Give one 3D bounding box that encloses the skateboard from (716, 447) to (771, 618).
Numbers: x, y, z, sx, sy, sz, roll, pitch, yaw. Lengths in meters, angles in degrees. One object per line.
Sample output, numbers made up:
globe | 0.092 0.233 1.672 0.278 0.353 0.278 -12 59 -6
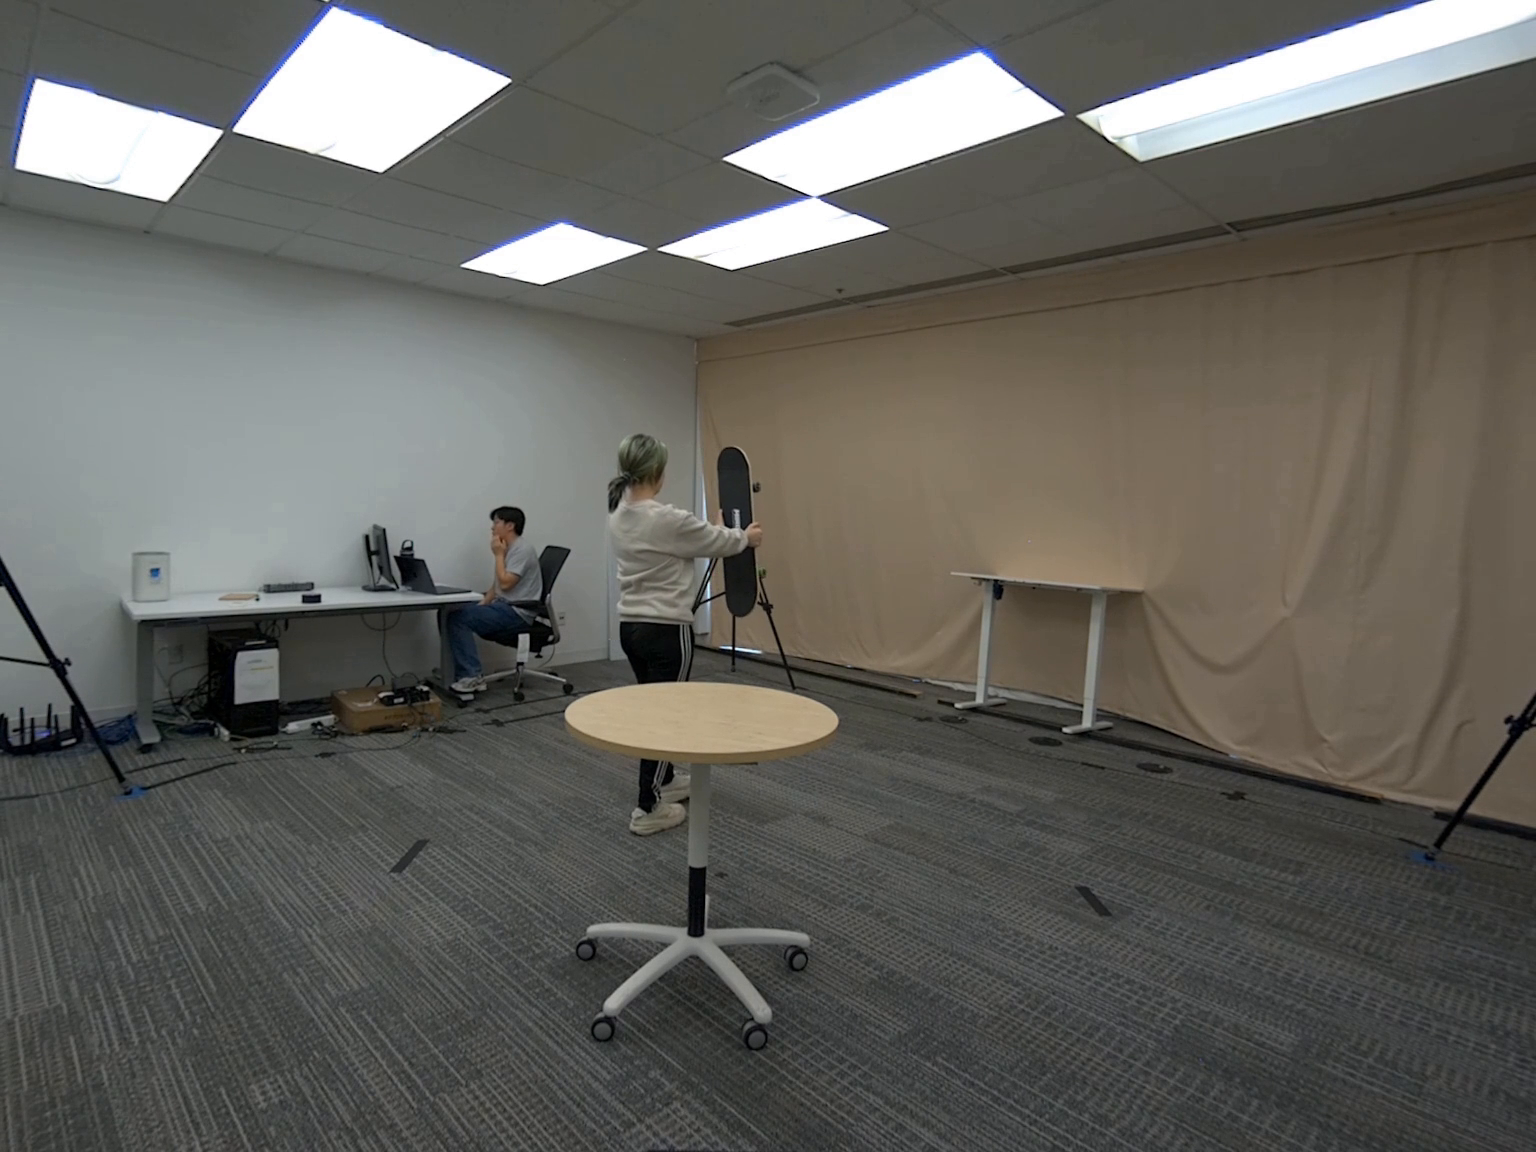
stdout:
skateboard | -0.131 -0.207 3.895 0.197 0.789 0.107 -7 -7 37
